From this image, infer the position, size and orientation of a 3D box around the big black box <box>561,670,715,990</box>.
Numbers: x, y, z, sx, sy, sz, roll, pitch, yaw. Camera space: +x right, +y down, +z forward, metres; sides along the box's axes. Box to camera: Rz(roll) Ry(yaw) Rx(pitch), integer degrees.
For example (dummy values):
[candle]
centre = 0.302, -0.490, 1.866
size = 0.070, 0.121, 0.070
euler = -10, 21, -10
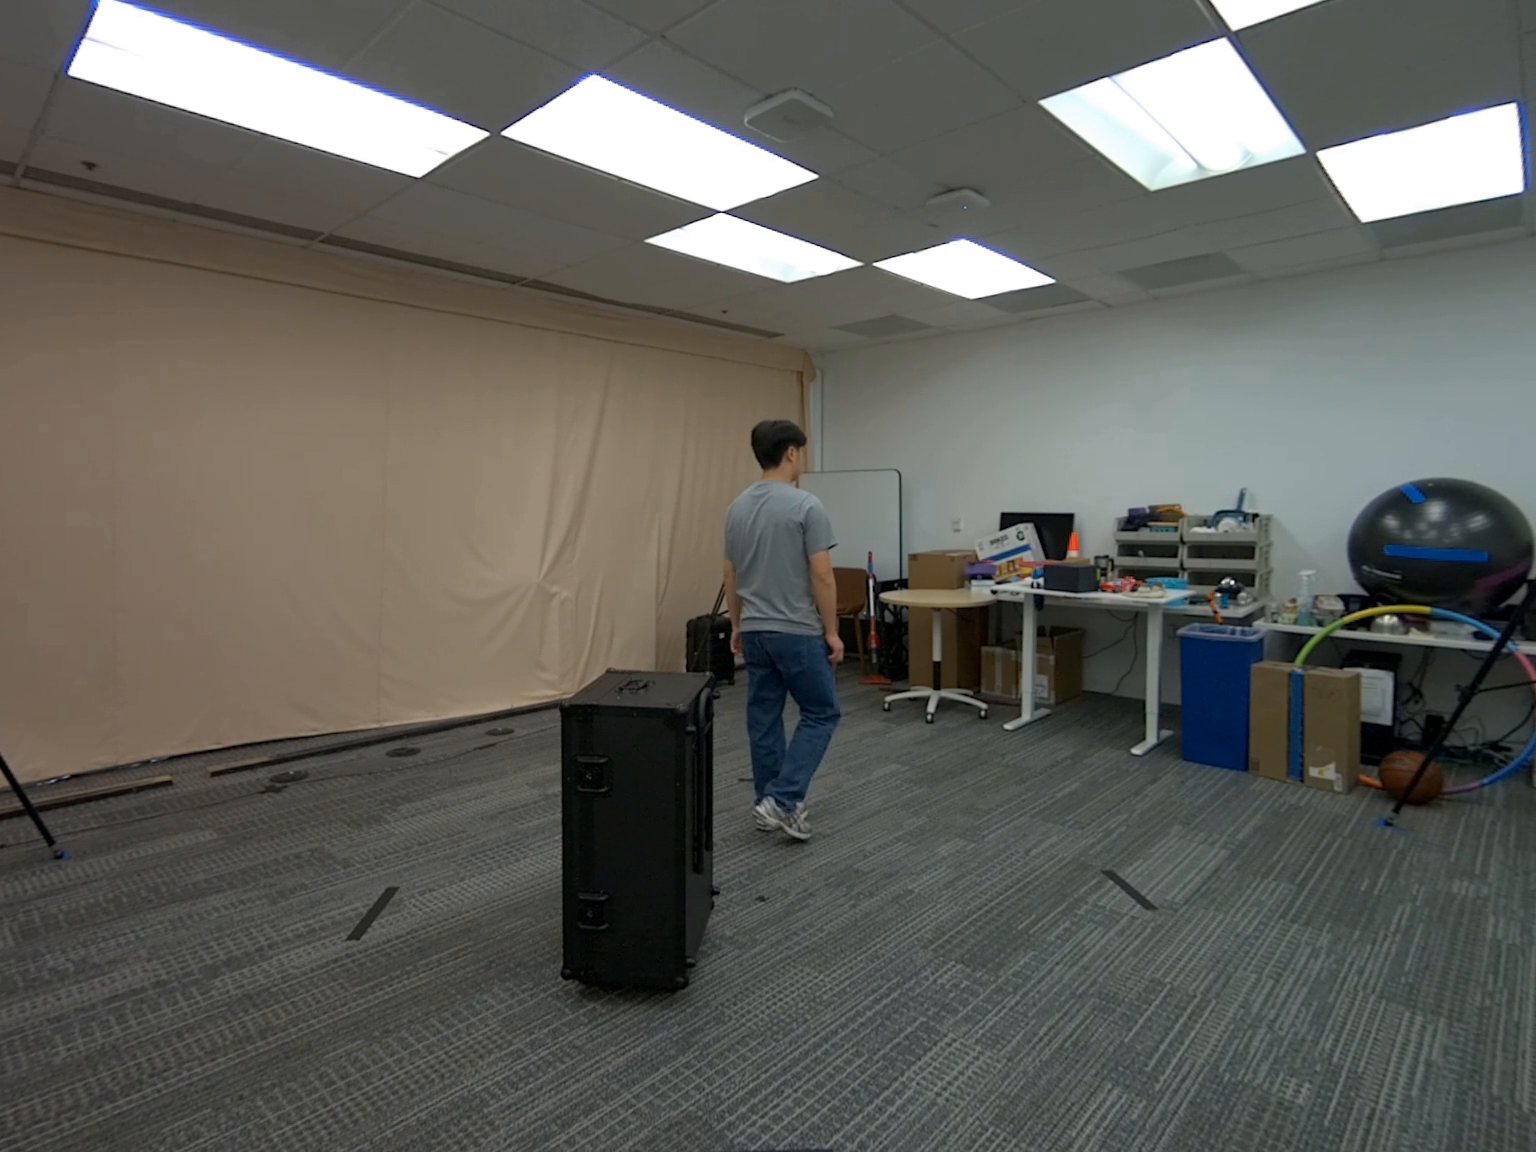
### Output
[big black box]
centre = -0.372, 0.759, 2.547
size = 0.400, 0.860, 0.517
euler = 1, 3, 7
